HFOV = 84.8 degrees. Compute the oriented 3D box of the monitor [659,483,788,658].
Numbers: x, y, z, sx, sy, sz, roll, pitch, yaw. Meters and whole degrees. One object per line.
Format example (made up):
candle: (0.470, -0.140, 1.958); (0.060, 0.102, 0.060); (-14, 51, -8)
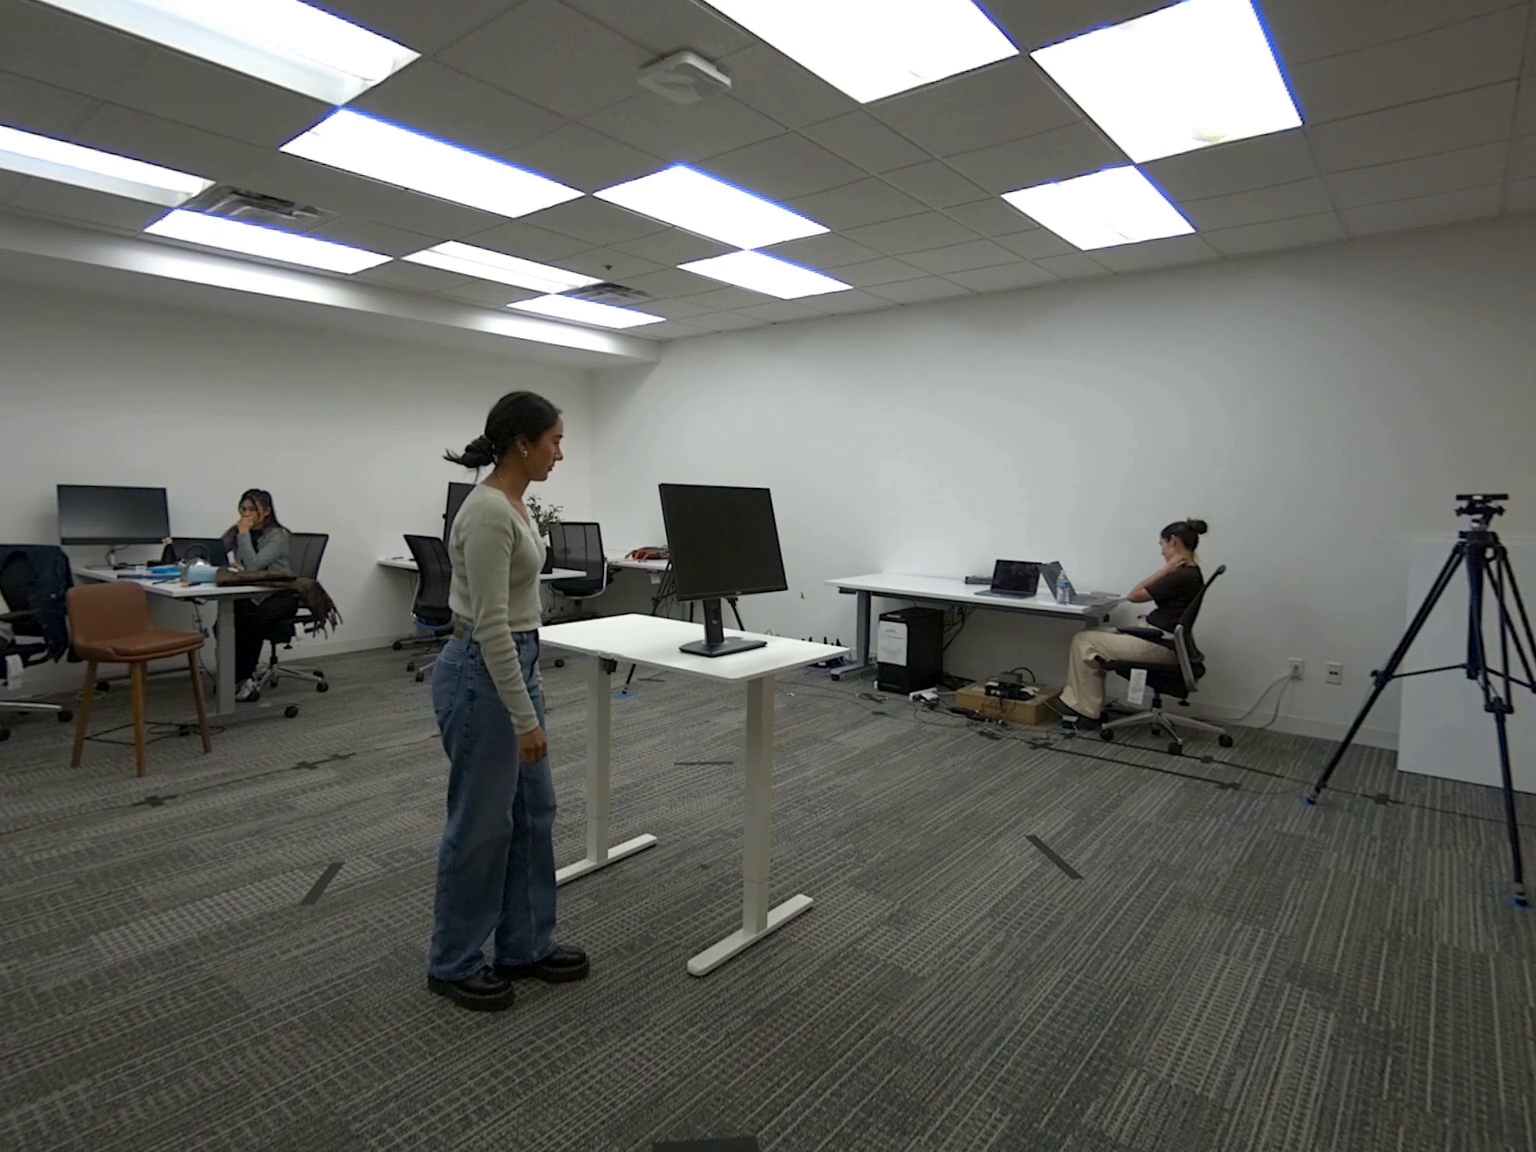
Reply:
monitor: (-0.156, -0.029, 2.682); (0.180, 0.514, 0.514); (6, 5, 37)
